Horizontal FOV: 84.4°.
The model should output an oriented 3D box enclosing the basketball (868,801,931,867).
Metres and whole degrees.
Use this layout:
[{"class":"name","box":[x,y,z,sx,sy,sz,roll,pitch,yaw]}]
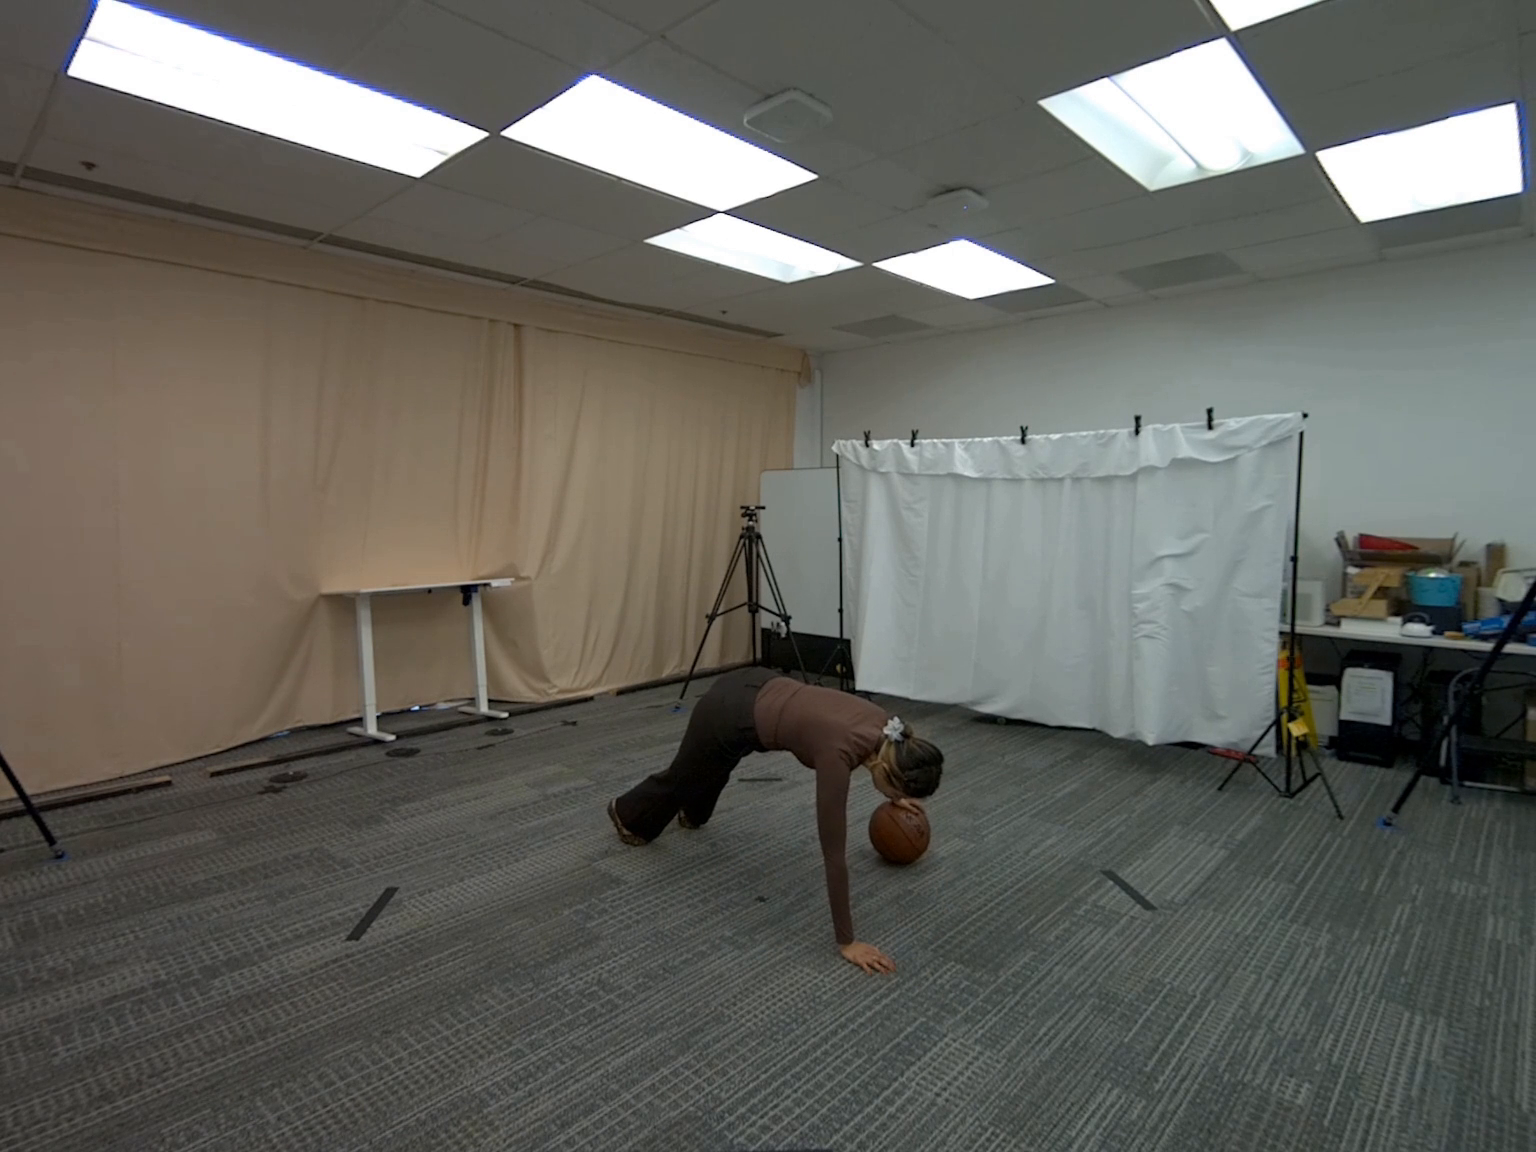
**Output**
[{"class":"basketball","box":[0.515,1.000,3.291,0.236,0.235,0.237,0,4,-2]}]
